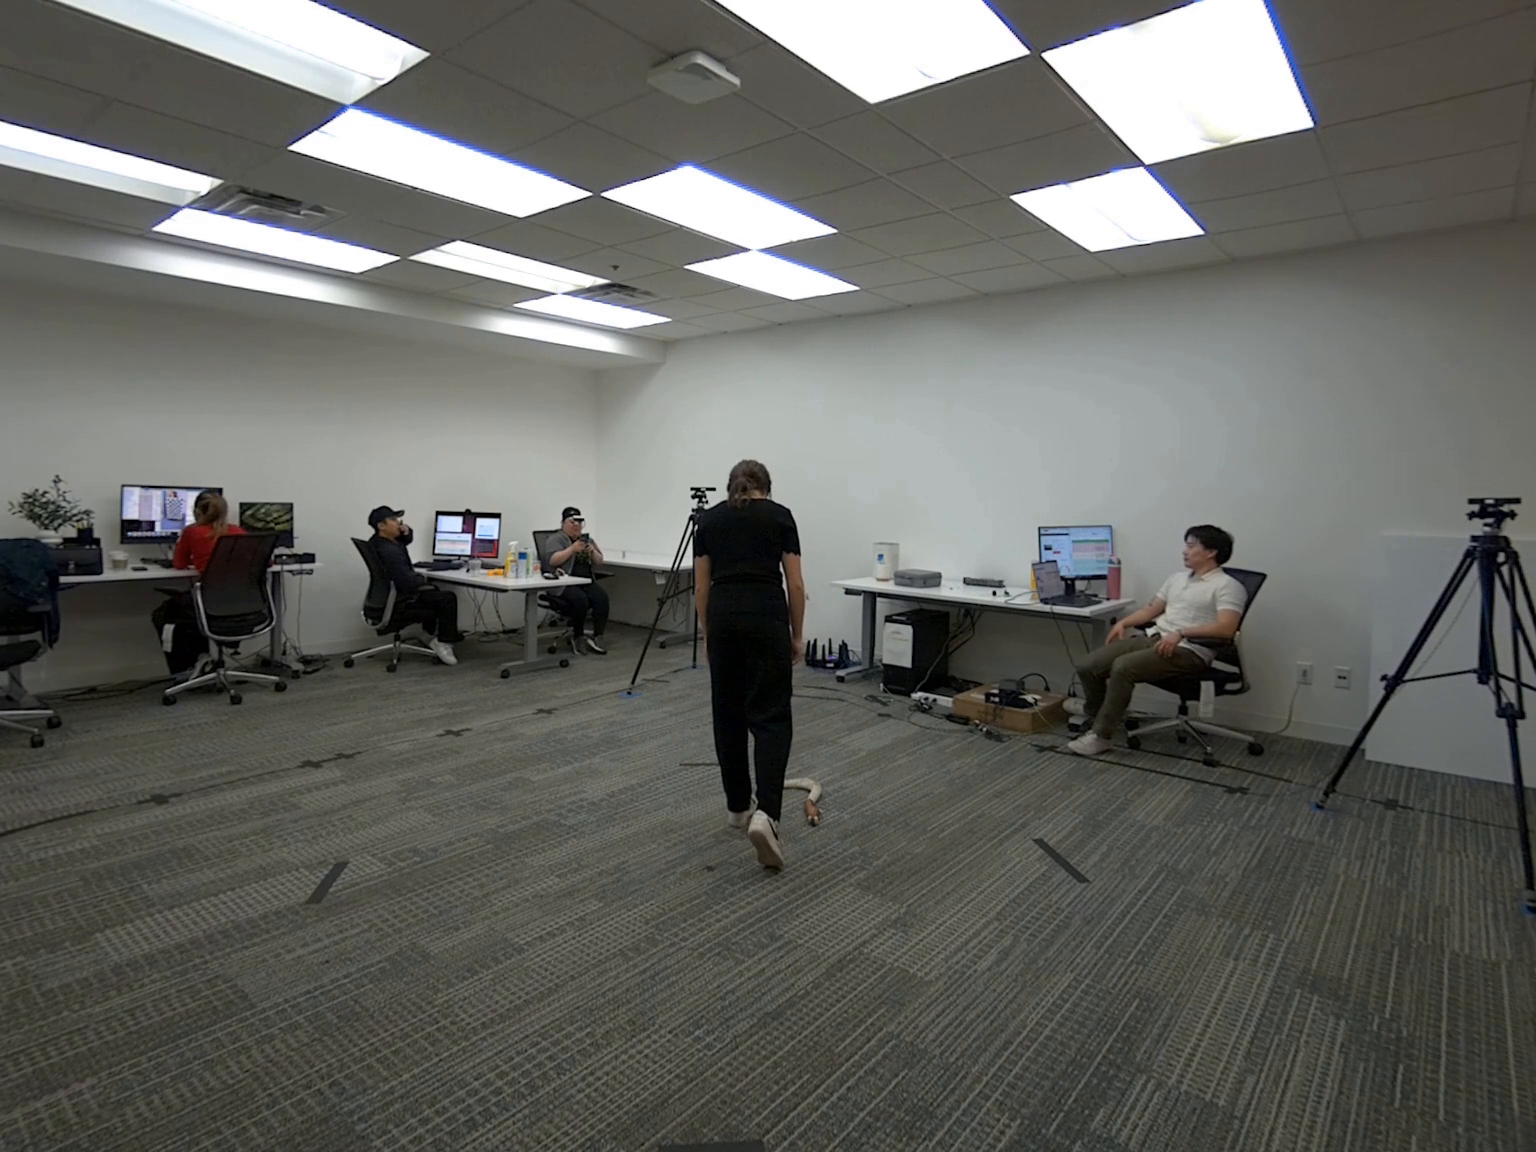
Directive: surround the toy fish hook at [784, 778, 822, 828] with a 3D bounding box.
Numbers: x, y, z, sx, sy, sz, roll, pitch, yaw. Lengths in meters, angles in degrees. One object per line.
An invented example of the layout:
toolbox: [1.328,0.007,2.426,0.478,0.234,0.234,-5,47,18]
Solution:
toy fish hook: [0.126,0.991,3.770,0.225,0.048,0.508,-6,5,0]
